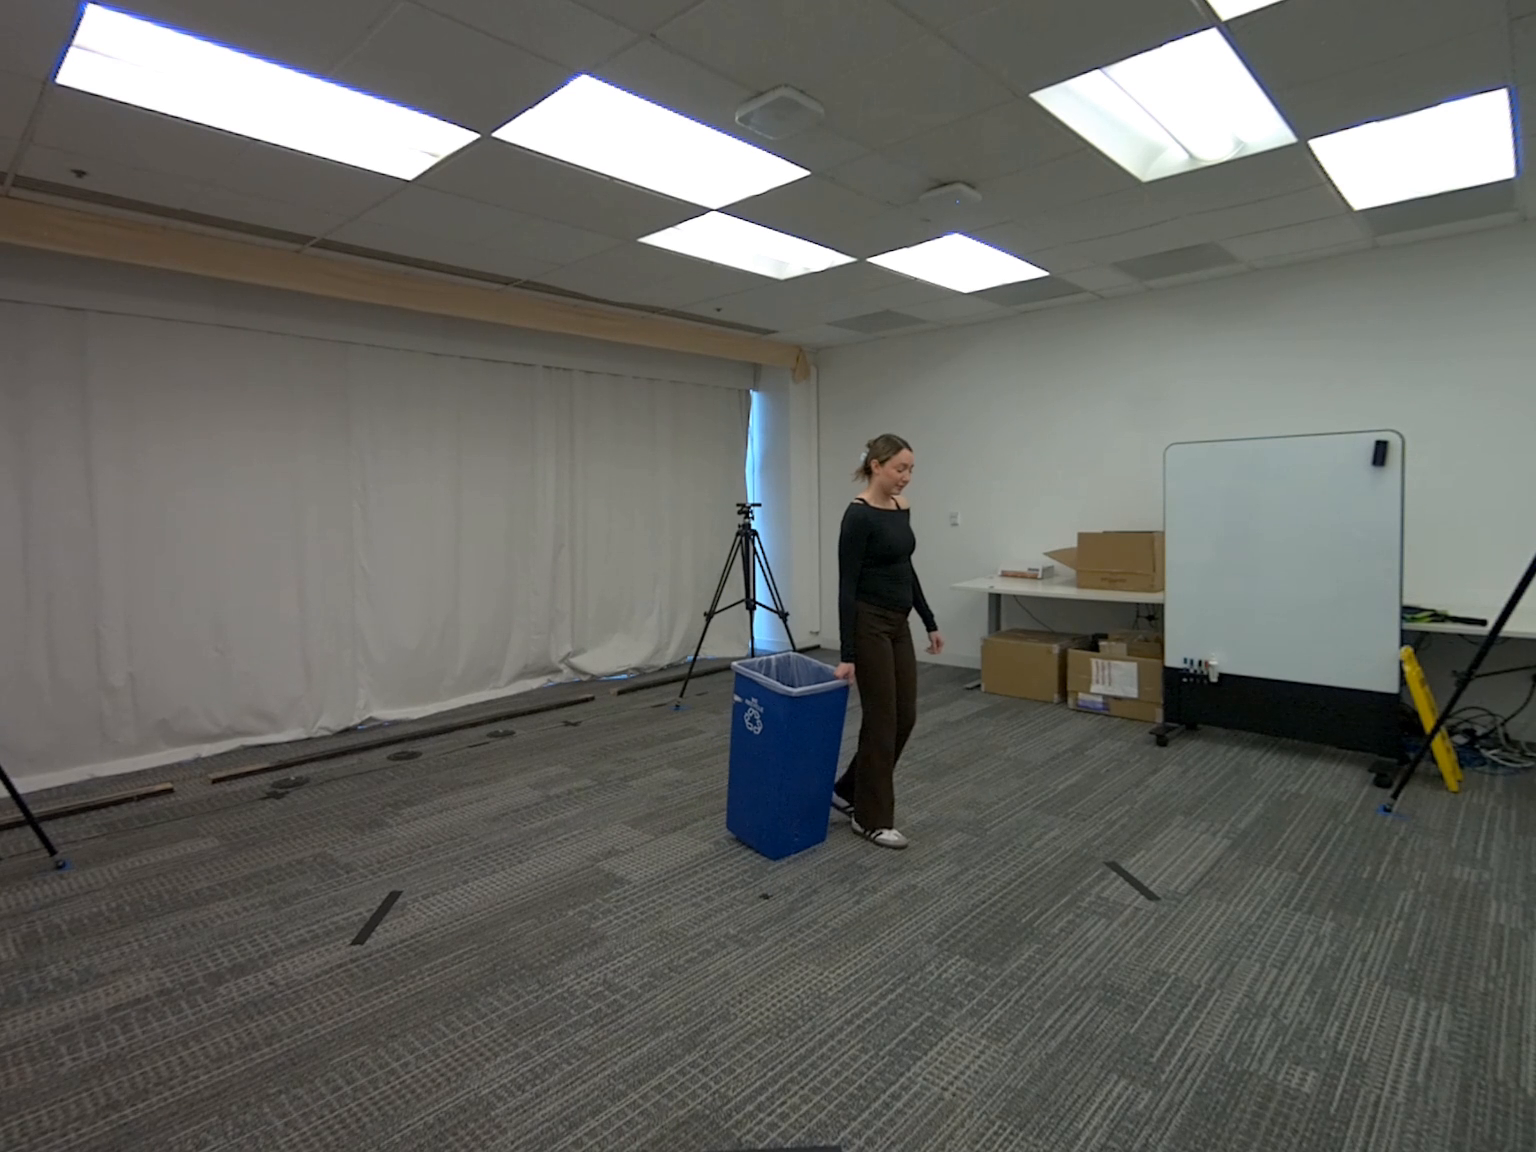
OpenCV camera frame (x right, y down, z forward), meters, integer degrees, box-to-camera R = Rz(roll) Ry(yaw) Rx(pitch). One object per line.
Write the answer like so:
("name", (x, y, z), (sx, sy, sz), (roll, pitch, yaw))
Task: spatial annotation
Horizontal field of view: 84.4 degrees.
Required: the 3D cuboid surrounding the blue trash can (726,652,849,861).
("blue trash can", (0.073, 0.719, 3.407), (0.366, 0.710, 0.388), (-4, 14, -41))
